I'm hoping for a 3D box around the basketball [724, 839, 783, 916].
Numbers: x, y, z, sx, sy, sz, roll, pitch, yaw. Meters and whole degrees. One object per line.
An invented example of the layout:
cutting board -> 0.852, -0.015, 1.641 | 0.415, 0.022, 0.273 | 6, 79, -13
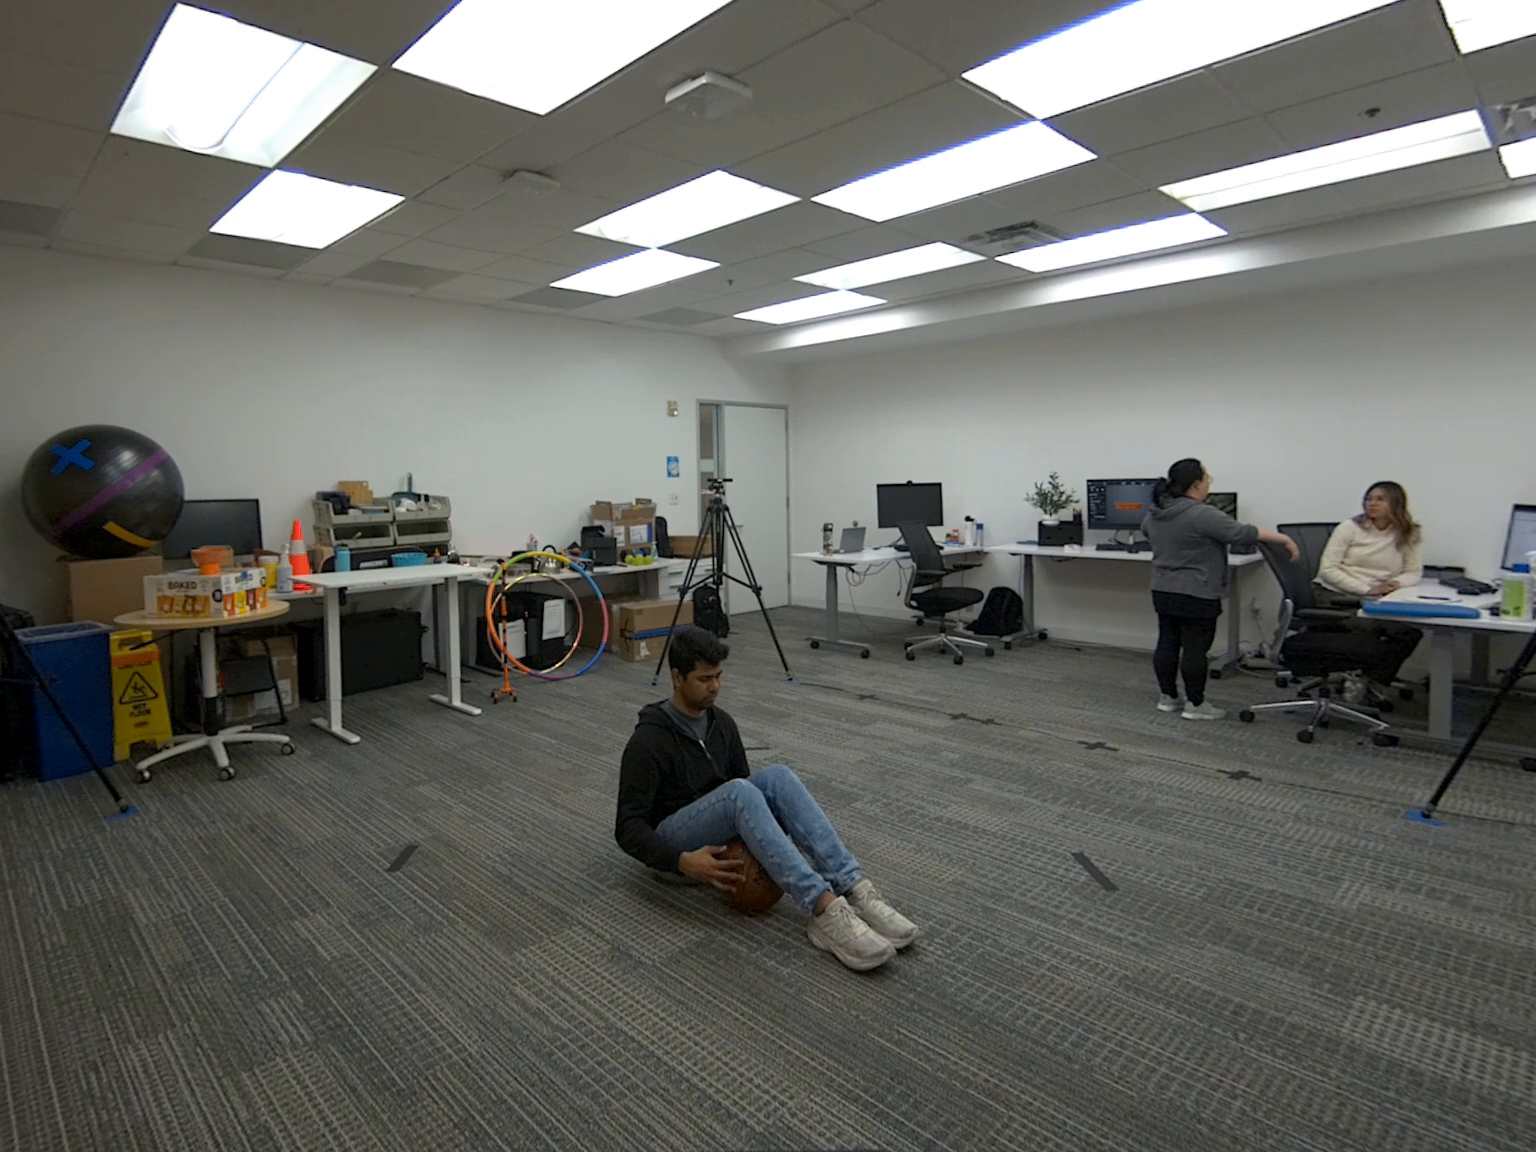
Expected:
basketball -> -0.051, 0.955, 2.791 | 0.236, 0.235, 0.237 | -1, 5, -2
